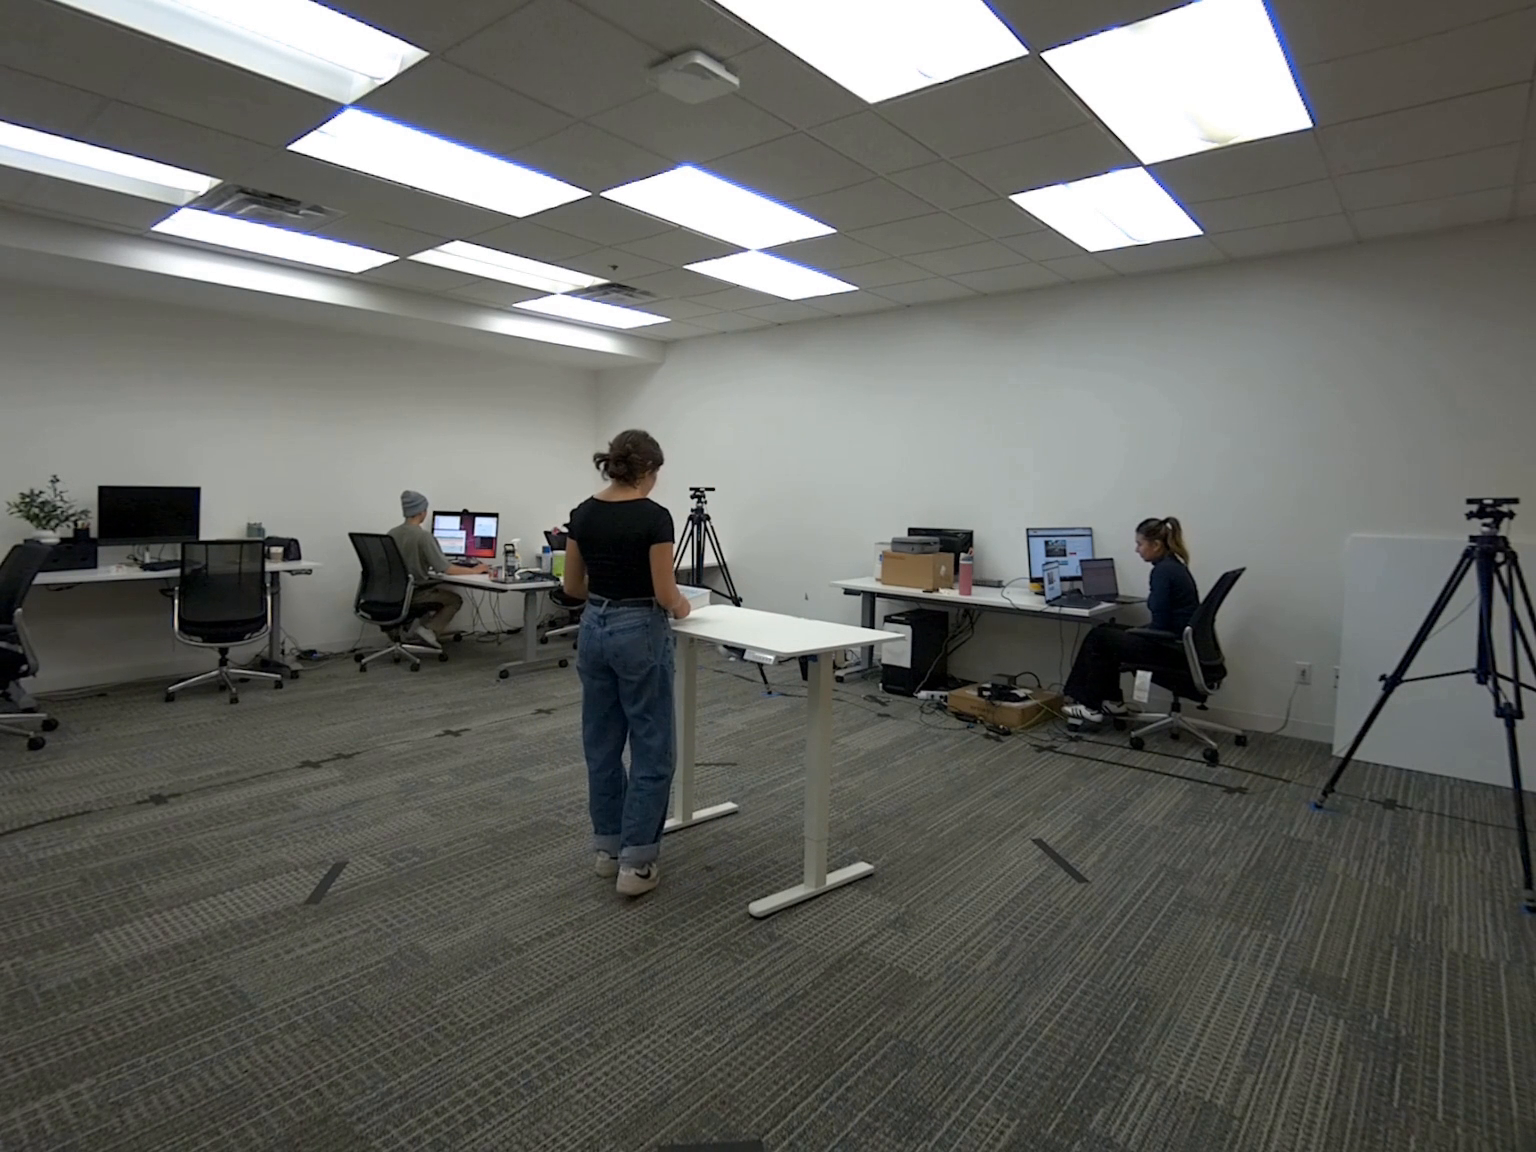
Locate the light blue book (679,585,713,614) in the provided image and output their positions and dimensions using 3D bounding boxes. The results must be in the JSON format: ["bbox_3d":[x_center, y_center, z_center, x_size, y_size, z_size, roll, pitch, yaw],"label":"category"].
[{"bbox_3d":[-0.368,0.096,3.245,0.197,0.058,0.256,6,14,29],"label":"light blue book"}]
